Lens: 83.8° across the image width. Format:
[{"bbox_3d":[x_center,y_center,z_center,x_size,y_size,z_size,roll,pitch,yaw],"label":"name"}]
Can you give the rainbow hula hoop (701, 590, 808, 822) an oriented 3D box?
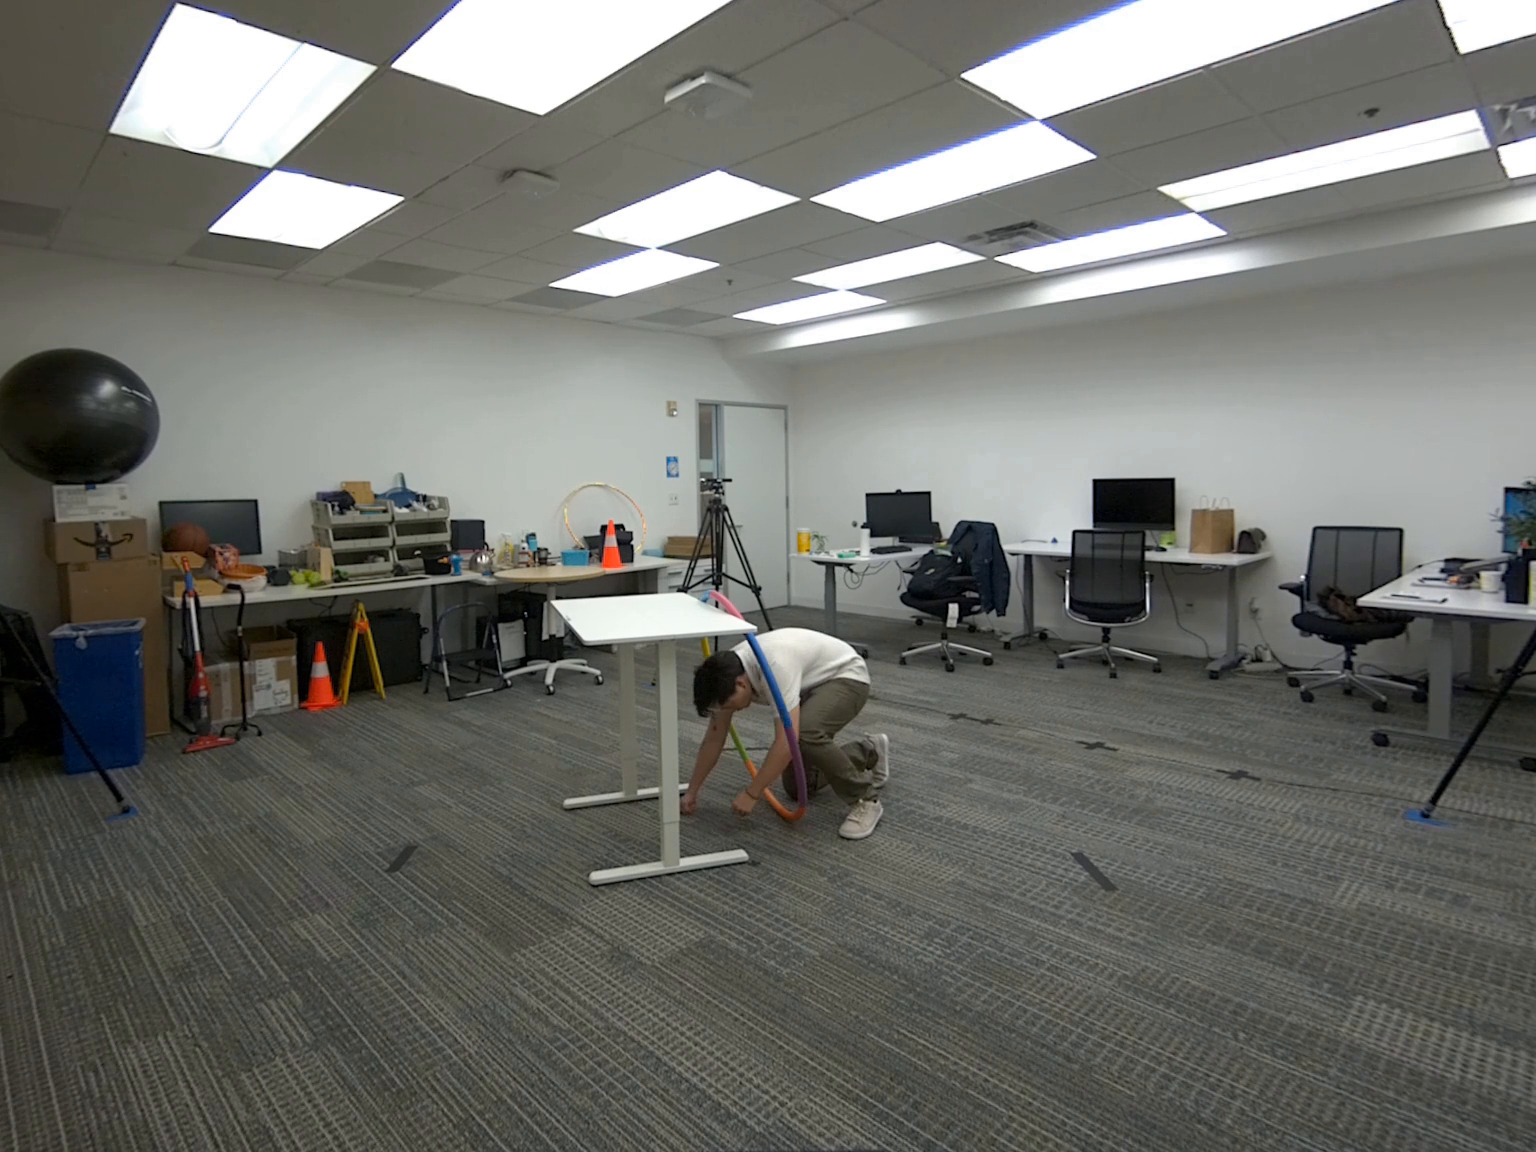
[{"bbox_3d":[-0.081,0.522,3.515,0.035,0.969,0.999,-19,10,-18],"label":"rainbow hula hoop"}]
